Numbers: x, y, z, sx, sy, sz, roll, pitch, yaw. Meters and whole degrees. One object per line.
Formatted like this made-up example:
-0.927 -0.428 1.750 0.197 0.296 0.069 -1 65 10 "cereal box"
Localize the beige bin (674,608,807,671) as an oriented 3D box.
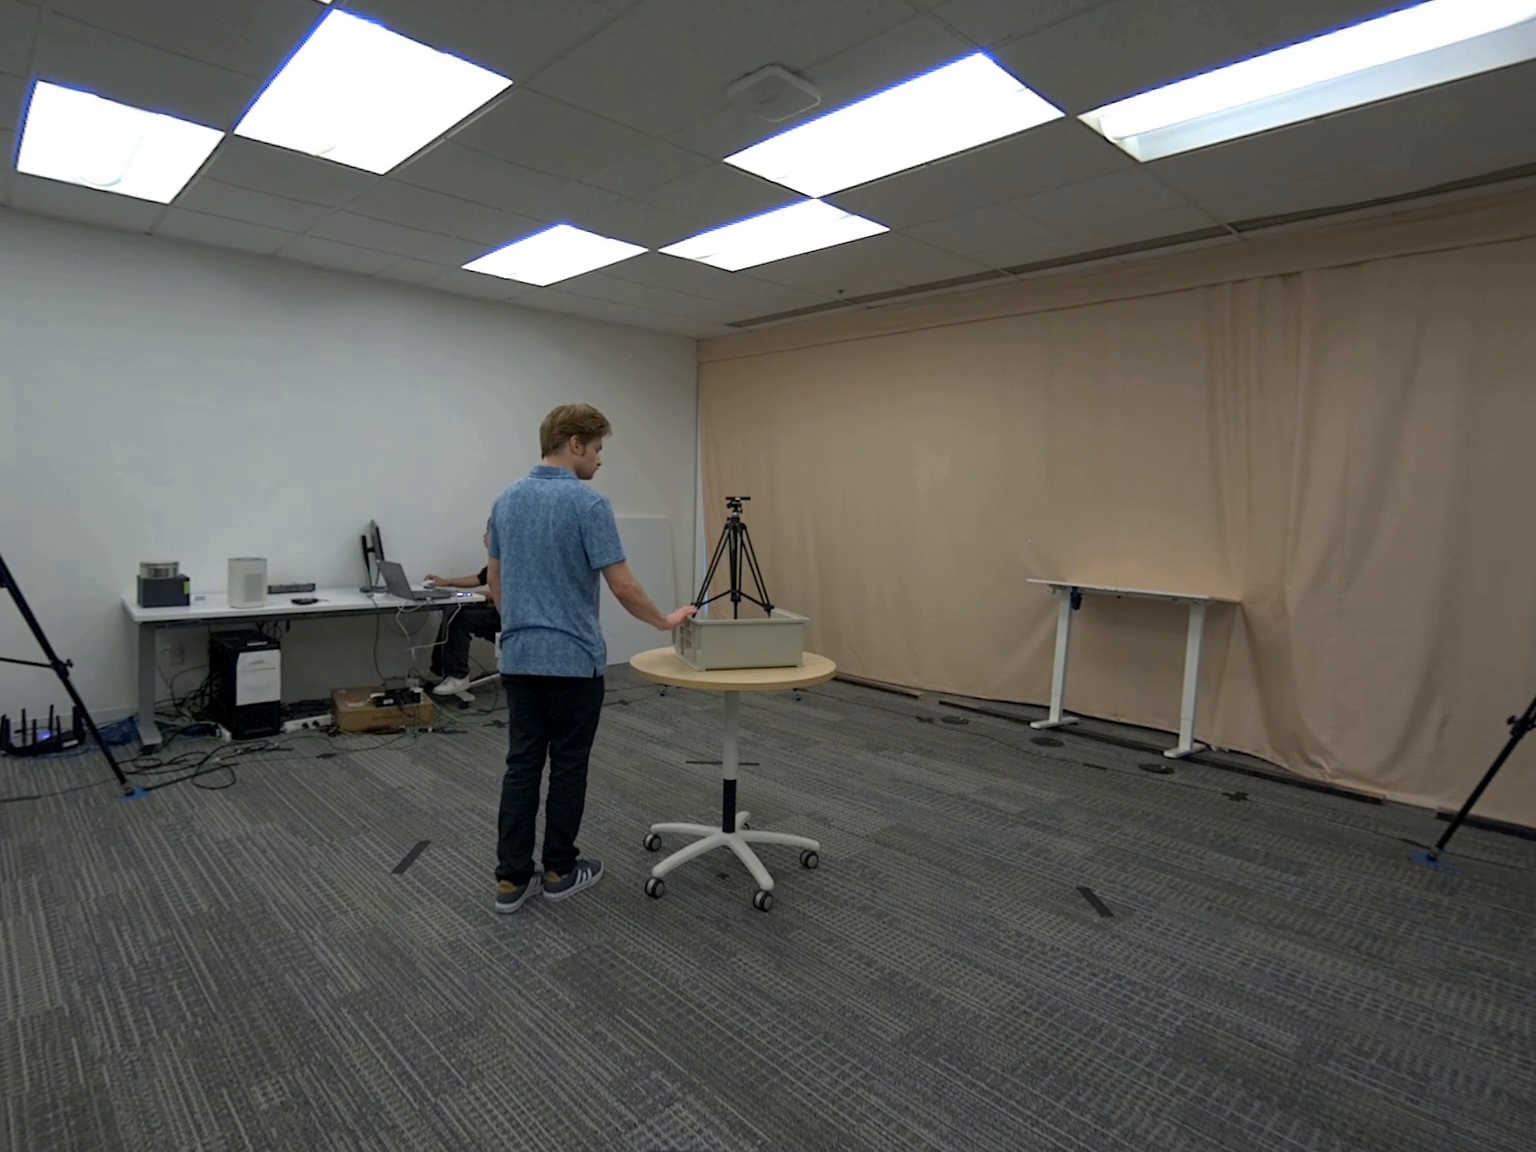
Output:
-0.119 0.226 3.153 0.416 0.188 0.384 1 6 -19 "beige bin"
